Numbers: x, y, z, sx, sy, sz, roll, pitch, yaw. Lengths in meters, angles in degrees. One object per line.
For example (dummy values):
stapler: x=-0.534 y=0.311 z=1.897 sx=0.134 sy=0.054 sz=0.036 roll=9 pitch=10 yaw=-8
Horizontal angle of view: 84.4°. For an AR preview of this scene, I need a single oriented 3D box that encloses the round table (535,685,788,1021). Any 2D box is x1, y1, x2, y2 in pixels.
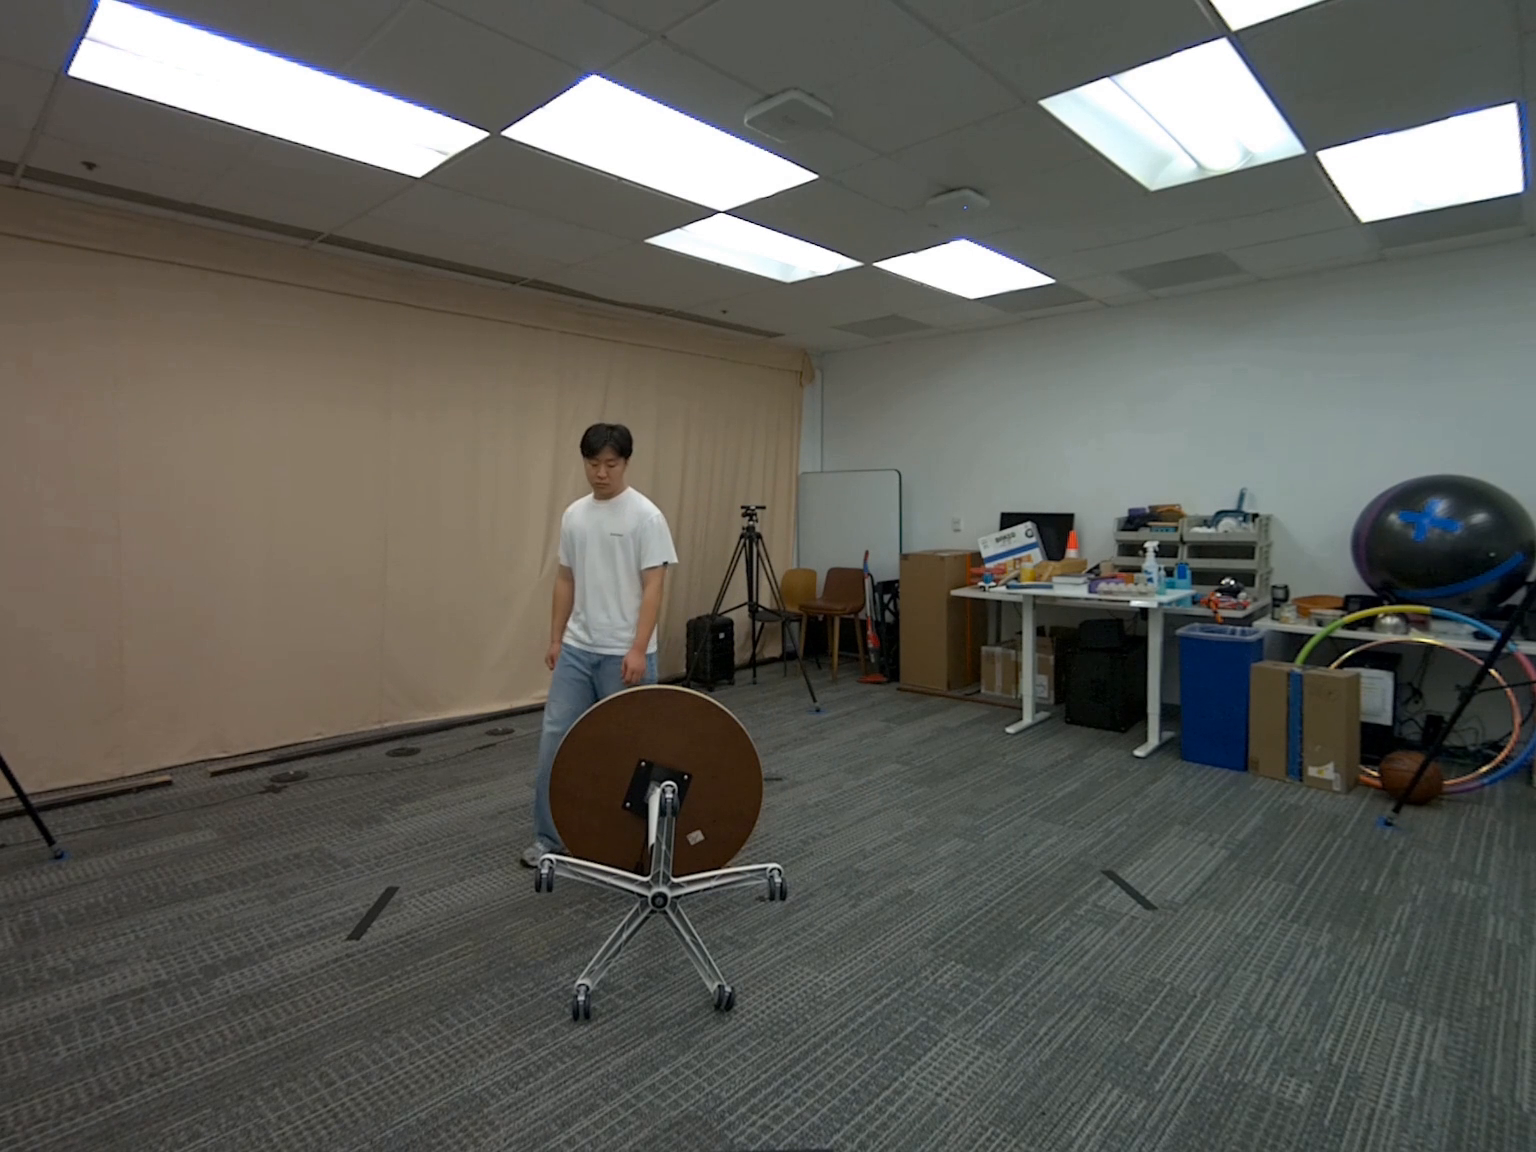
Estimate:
round table: x=-0.331 y=0.830 z=2.633 sx=0.780 sy=0.781 sz=0.797 roll=0 pitch=9 yaw=-7
